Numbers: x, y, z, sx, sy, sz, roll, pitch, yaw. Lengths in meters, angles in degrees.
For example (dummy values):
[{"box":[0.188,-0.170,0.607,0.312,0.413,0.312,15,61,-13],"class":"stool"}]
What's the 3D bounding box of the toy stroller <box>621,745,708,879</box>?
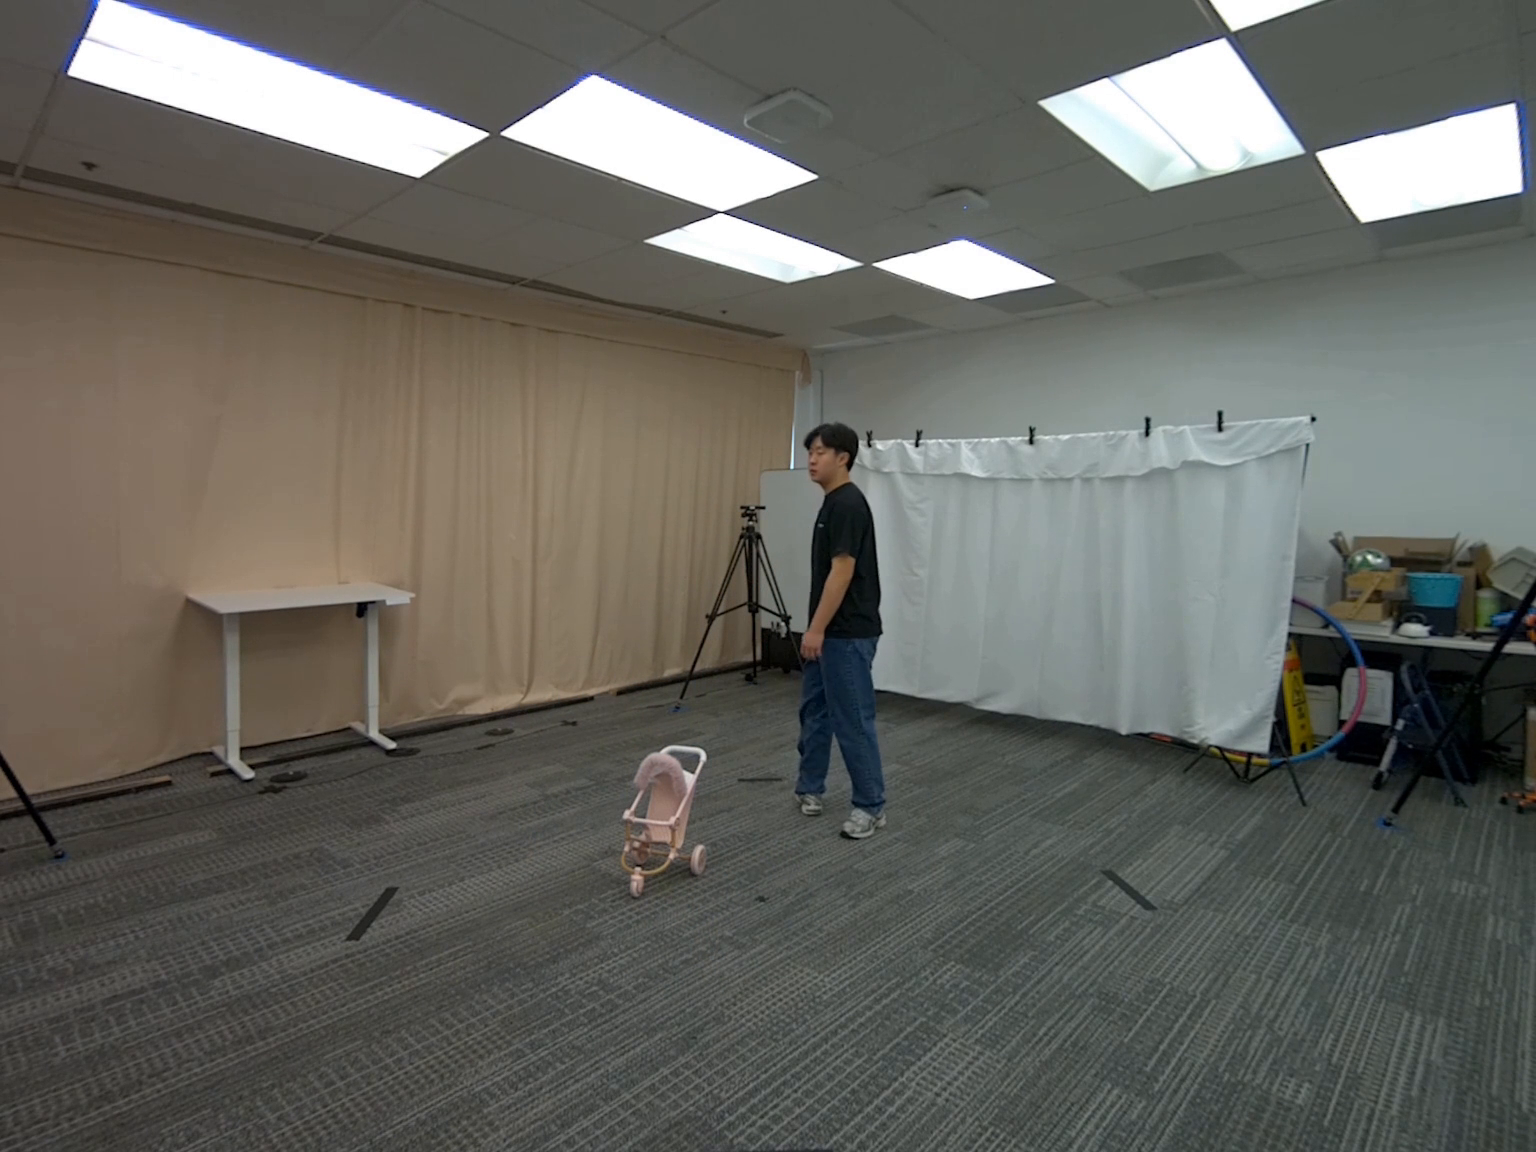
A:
[{"box":[-0.405,0.907,3.168,0.289,0.538,0.330,0,-13,26],"class":"toy stroller"}]
